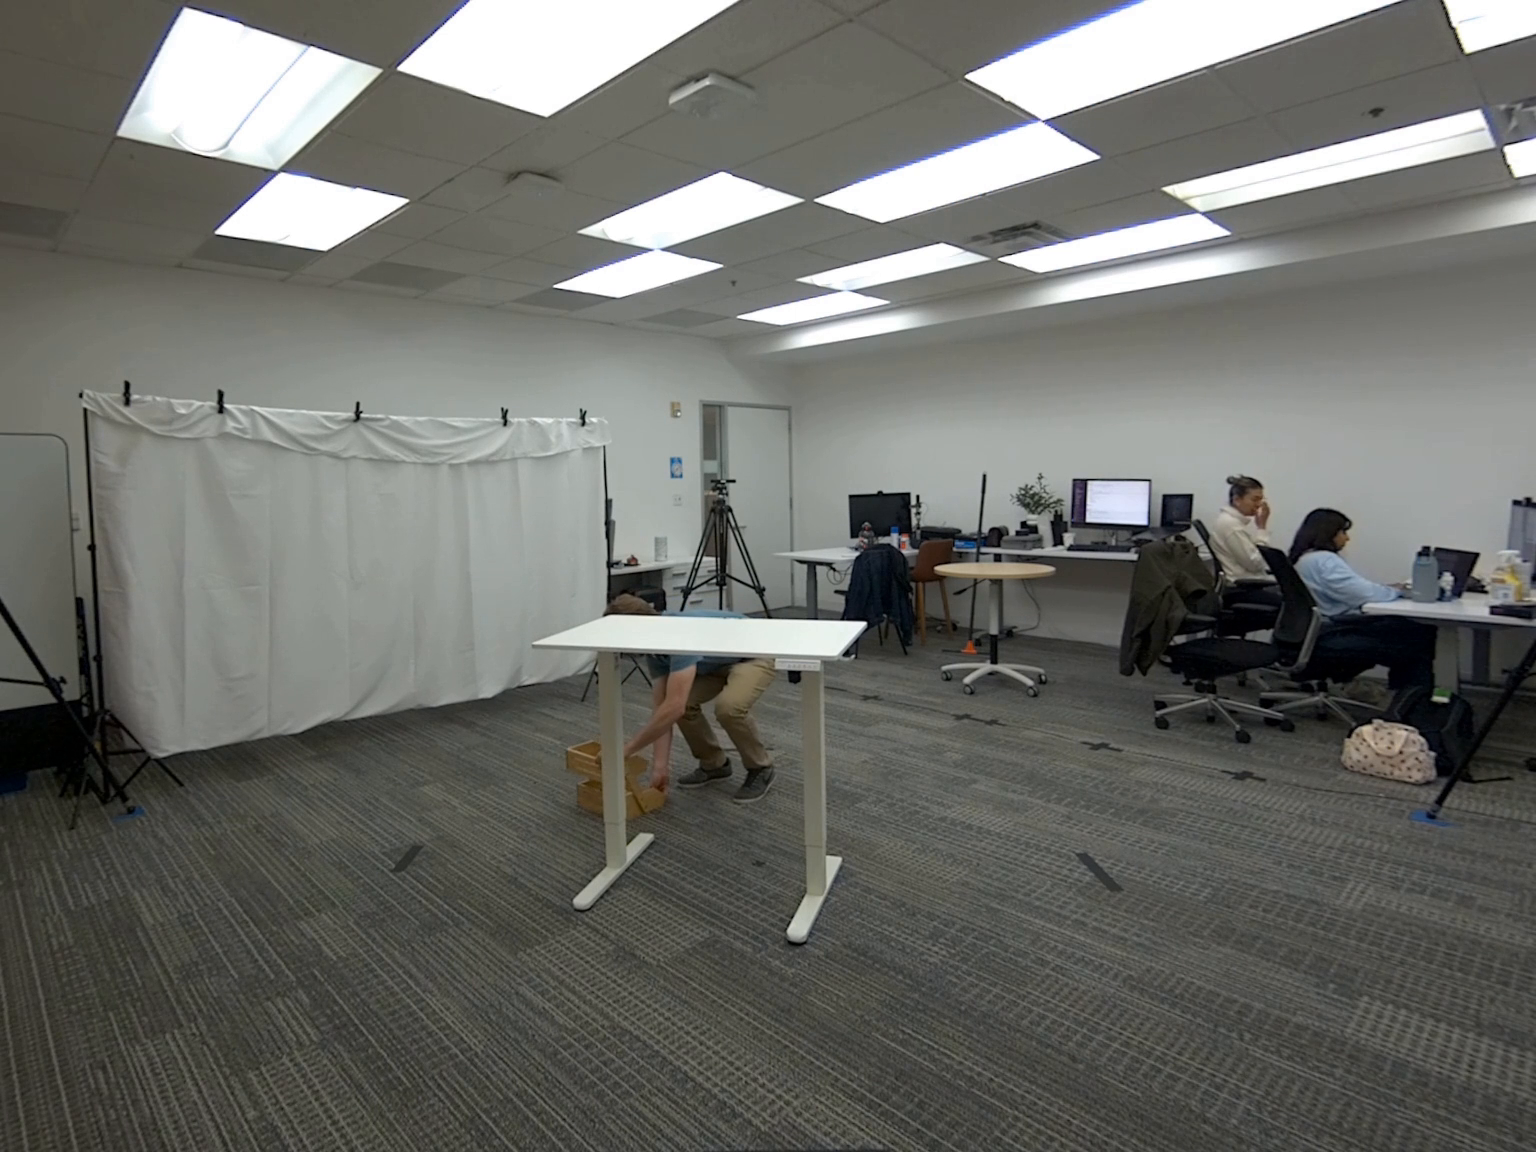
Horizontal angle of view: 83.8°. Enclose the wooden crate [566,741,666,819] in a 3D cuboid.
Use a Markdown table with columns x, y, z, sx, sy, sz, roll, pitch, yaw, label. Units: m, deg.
| x | y | z | sx | sy | sz | roll | pitch | yaw | label |
| --- | --- | --- | --- | --- | --- | --- | --- | --- | --- |
| -0.657 | 0.862 | 3.684 | 0.334 | 0.272 | 0.294 | 5 | 8 | 42 | wooden crate |
